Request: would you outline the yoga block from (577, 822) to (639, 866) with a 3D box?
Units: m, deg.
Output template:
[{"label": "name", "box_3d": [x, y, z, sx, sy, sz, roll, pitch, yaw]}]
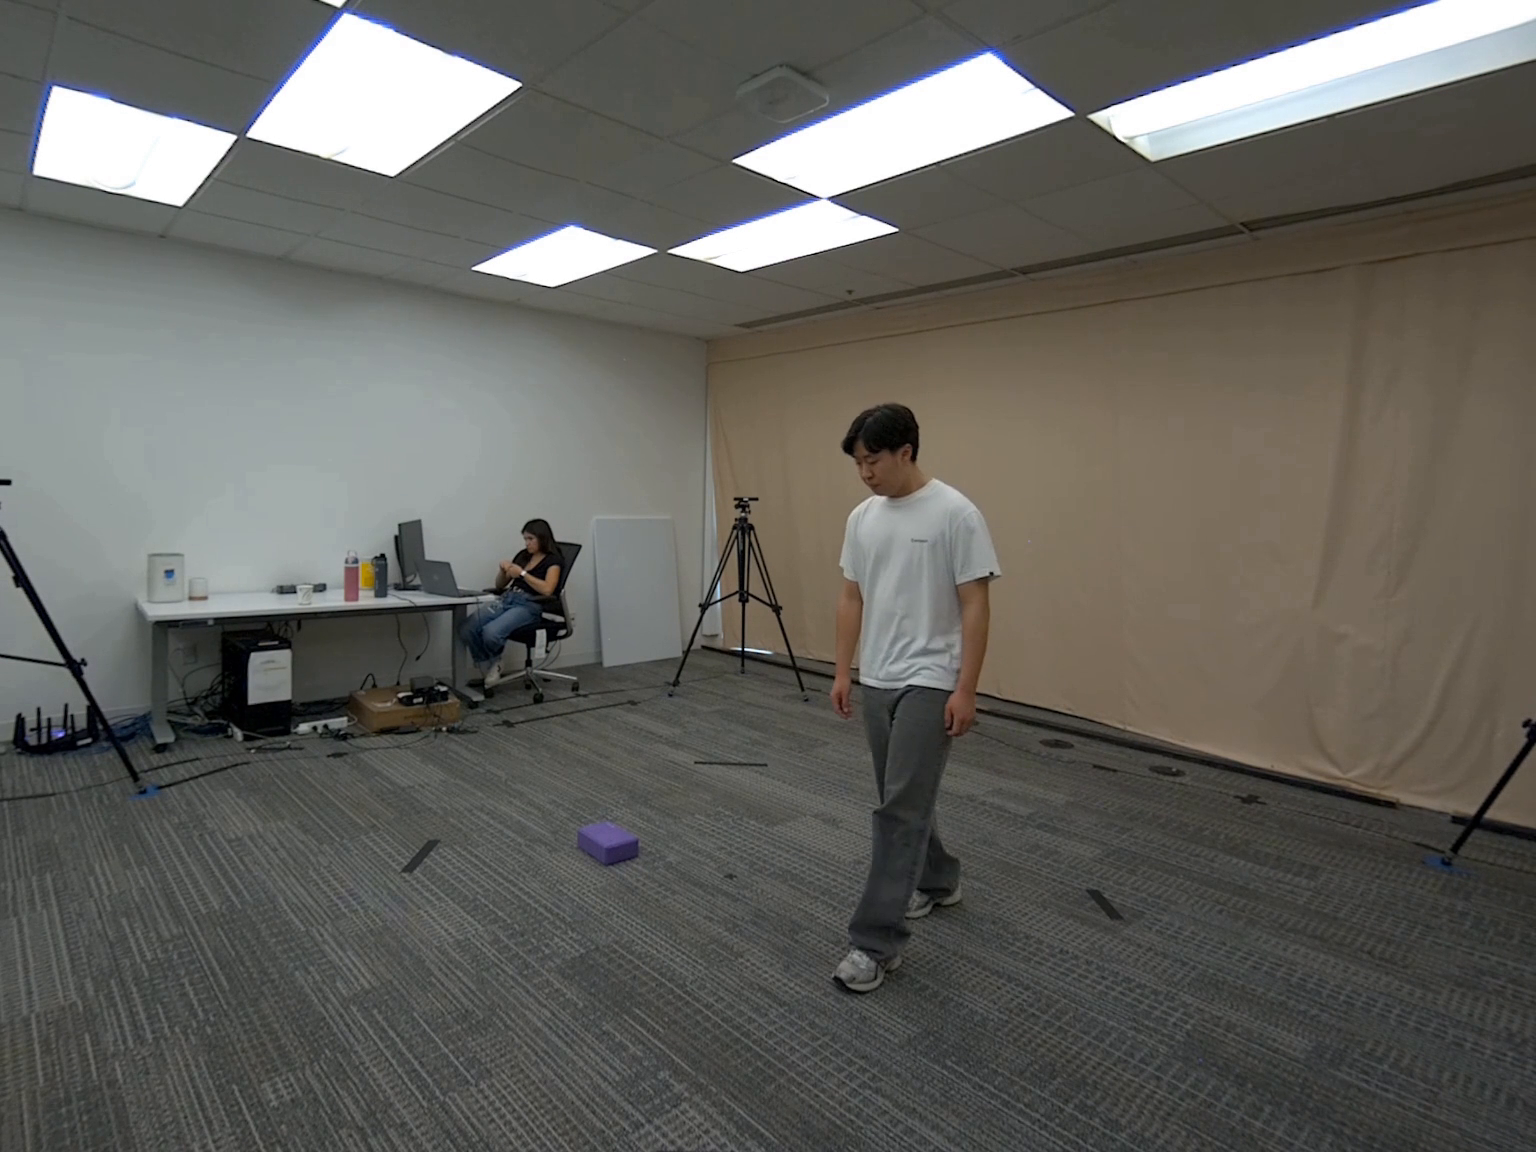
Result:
[{"label": "yoga block", "box_3d": [-0.636, 1.045, 3.285, 0.145, 0.076, 0.235, -3, 6, -41]}]
